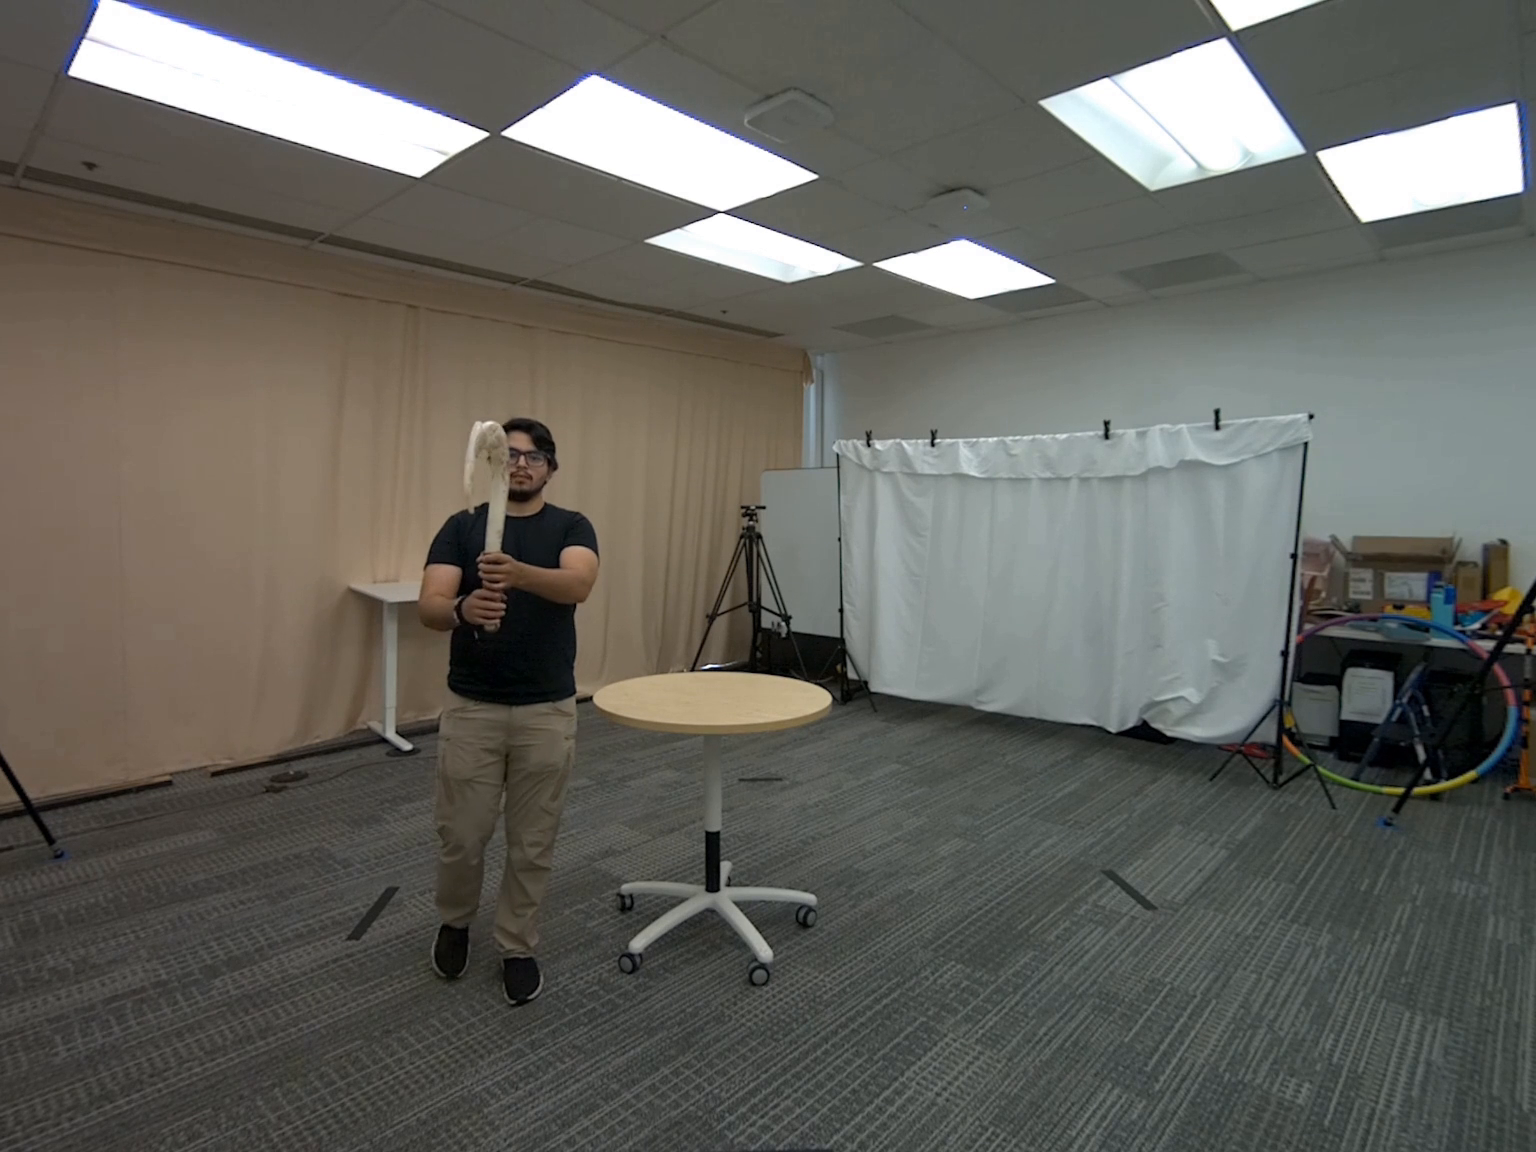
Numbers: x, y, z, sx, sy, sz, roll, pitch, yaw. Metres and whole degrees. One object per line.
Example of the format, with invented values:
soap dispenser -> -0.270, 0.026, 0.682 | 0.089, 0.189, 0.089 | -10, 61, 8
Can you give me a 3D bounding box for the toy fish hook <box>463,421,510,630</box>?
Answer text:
toy fish hook -> -0.656, -0.102, 1.926 | 0.049, 0.503, 0.224 | 4, 11, 6
